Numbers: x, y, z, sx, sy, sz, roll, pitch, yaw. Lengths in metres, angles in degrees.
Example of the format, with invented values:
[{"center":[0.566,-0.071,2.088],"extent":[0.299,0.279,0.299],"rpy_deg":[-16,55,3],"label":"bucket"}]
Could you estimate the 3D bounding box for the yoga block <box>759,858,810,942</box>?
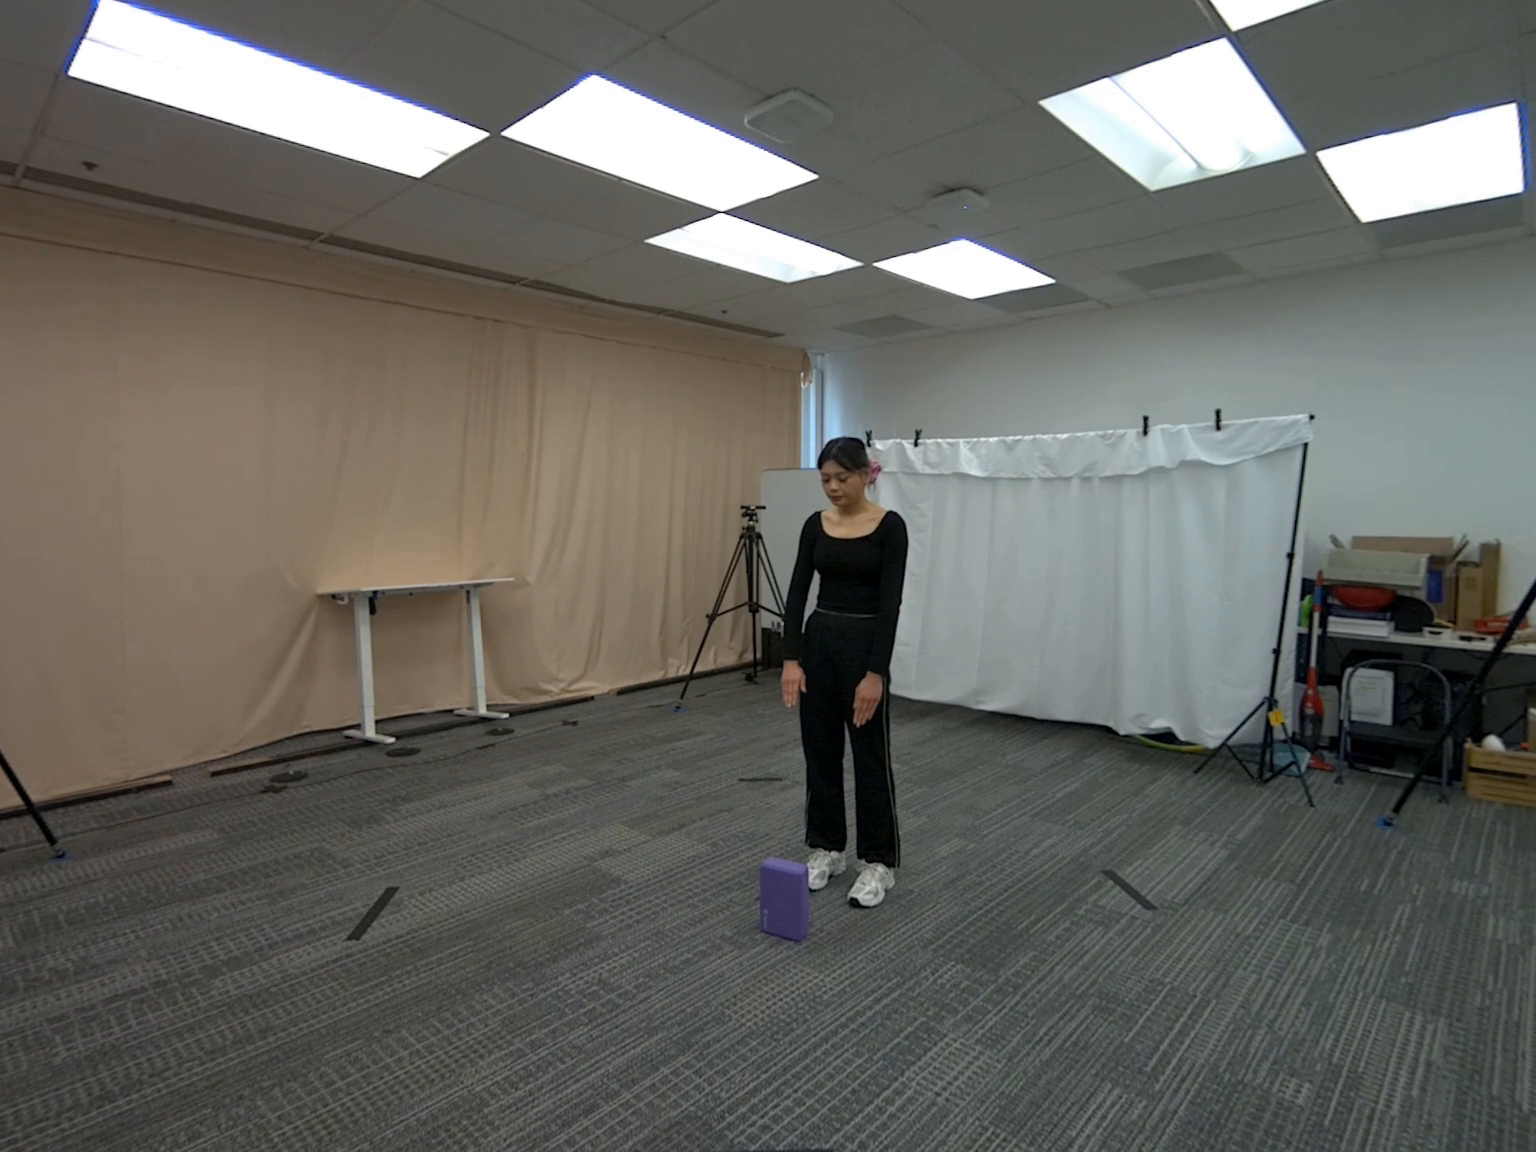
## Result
[{"center":[0.058,1.049,2.736],"extent":[0.153,0.229,0.074],"rpy_deg":[2,4,28],"label":"yoga block"}]
